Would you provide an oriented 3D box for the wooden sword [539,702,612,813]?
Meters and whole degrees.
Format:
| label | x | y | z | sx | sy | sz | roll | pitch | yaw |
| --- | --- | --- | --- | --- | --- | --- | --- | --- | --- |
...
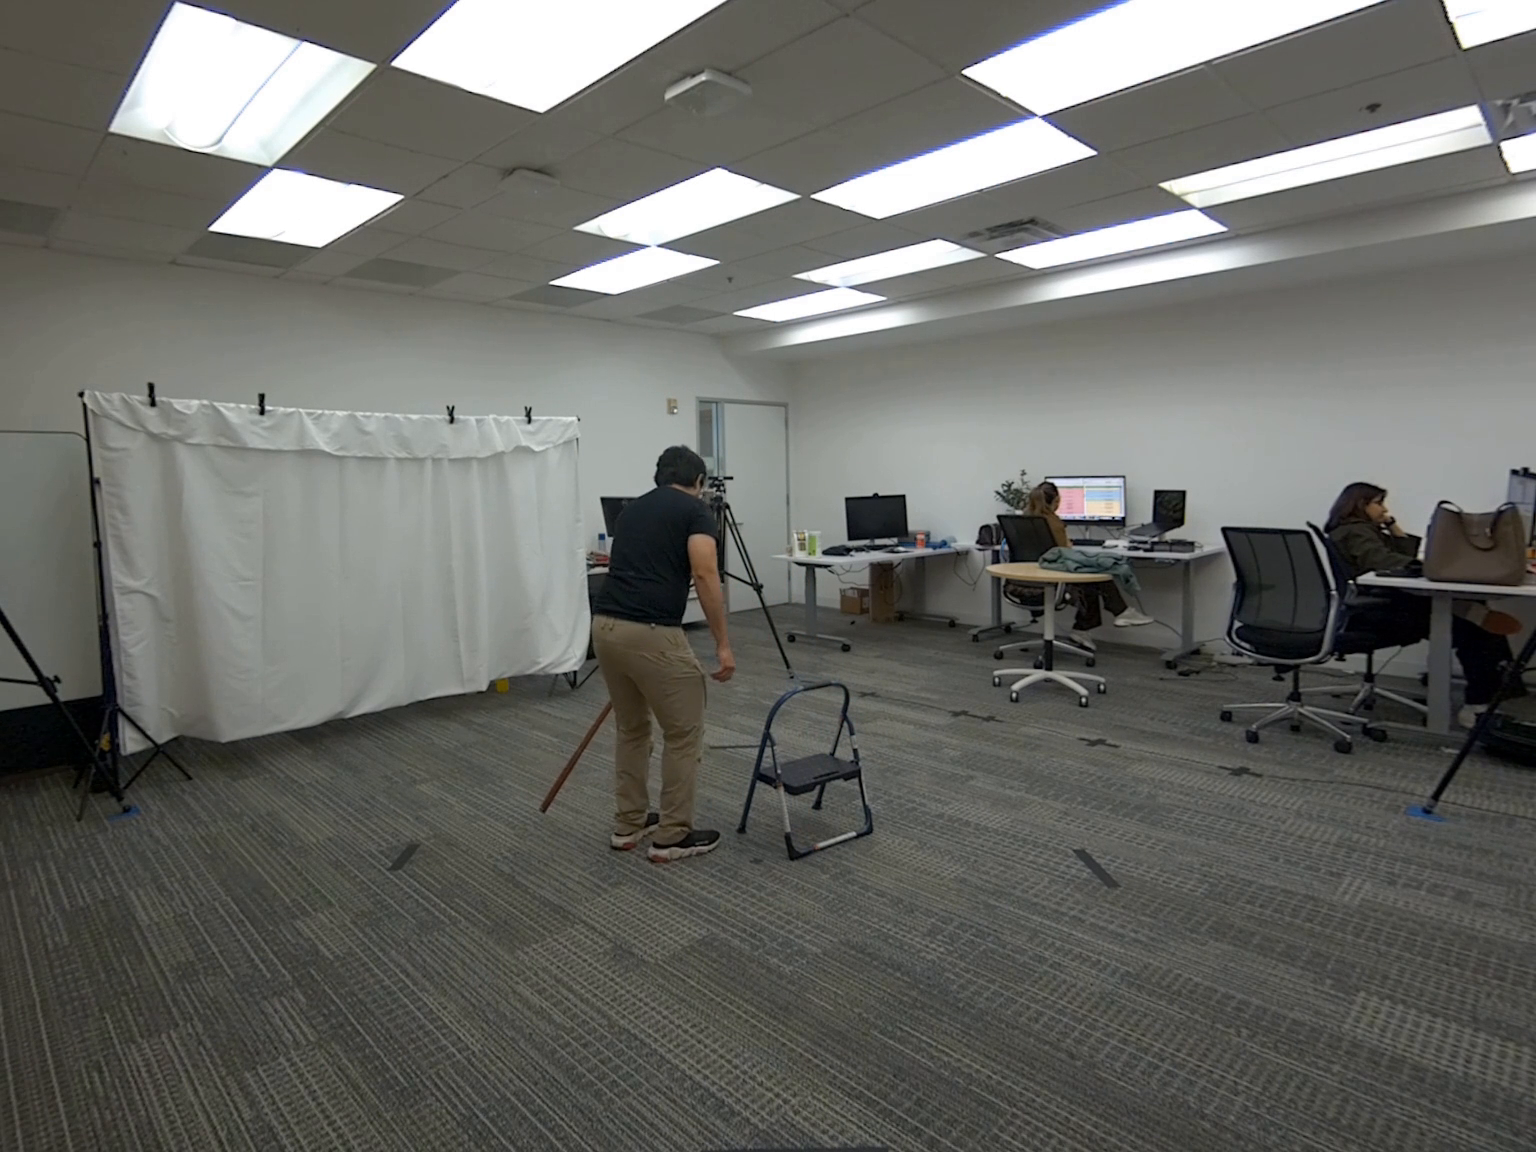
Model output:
| label | x | y | z | sx | sy | sz | roll | pitch | yaw |
| --- | --- | --- | --- | --- | --- | --- | --- | --- | --- |
| wooden sword | -0.658 | 0.545 | 3.578 | 0.025 | 1.030 | 0.049 | 22 | -25 | 22 |
